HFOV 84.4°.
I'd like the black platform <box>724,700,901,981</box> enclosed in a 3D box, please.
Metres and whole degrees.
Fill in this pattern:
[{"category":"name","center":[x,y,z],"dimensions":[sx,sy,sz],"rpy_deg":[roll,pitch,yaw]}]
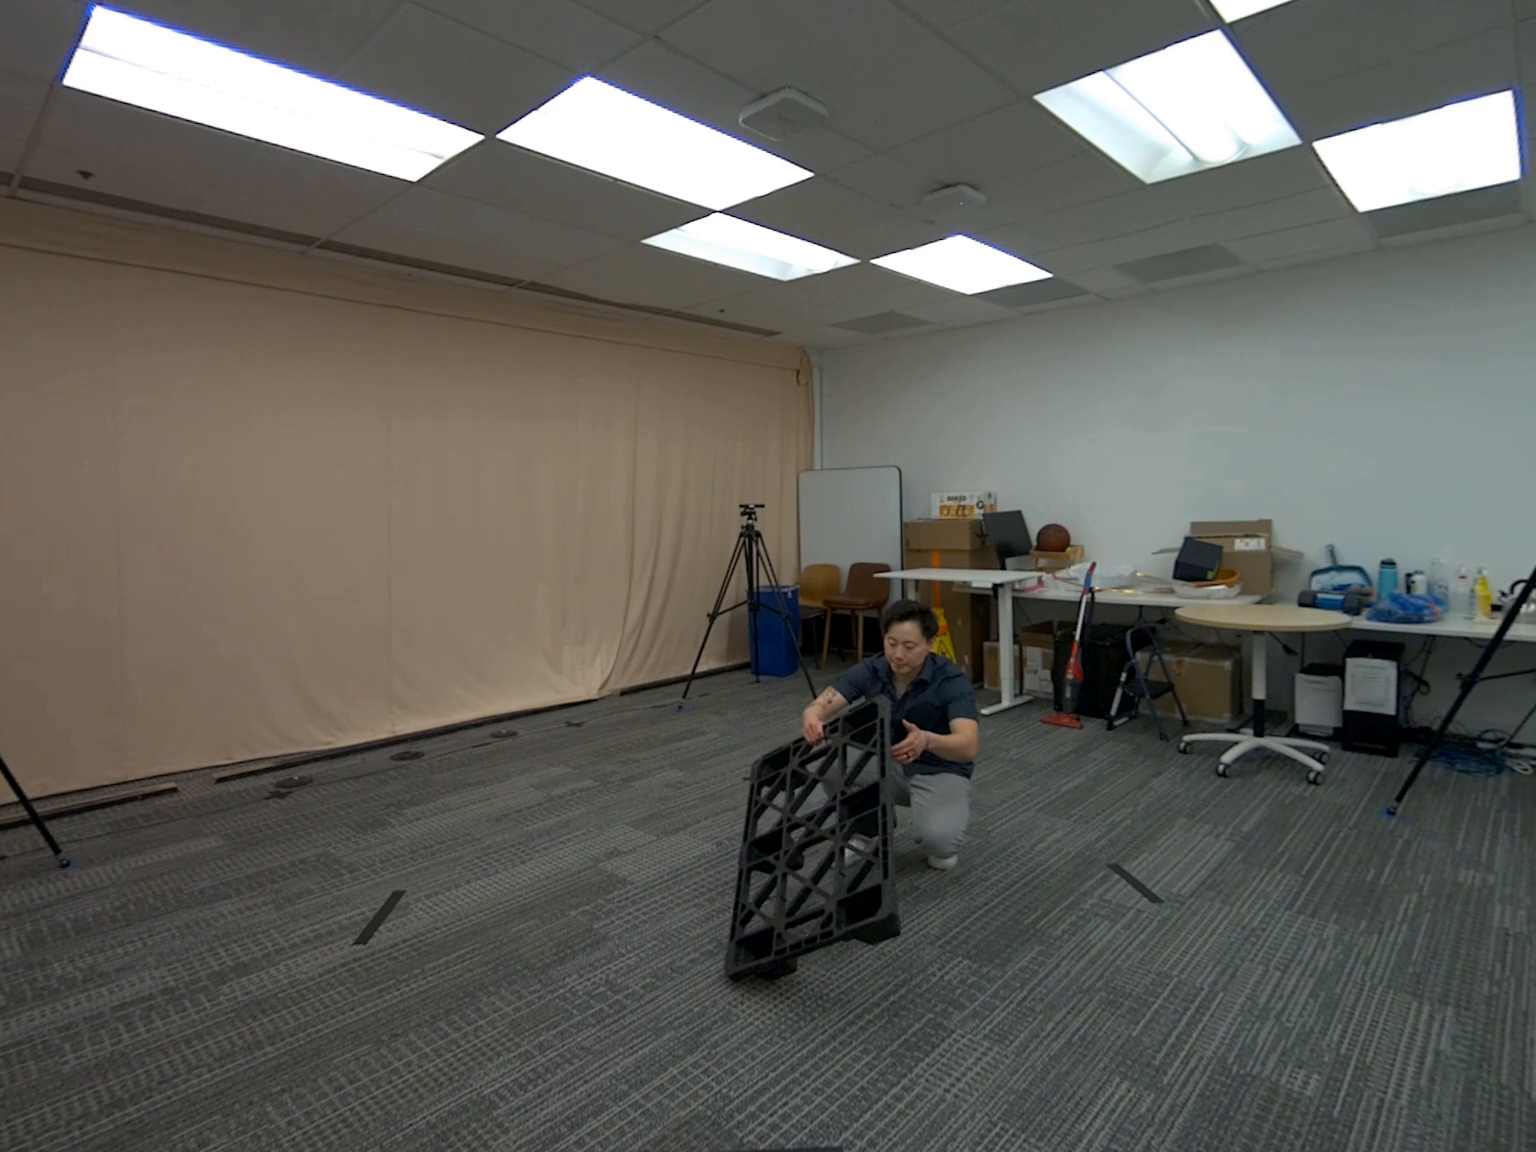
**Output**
[{"category":"black platform","center":[0.173,0.805,2.630],"dimensions":[0.613,0.140,0.815],"rpy_deg":[-34,27,28]}]
